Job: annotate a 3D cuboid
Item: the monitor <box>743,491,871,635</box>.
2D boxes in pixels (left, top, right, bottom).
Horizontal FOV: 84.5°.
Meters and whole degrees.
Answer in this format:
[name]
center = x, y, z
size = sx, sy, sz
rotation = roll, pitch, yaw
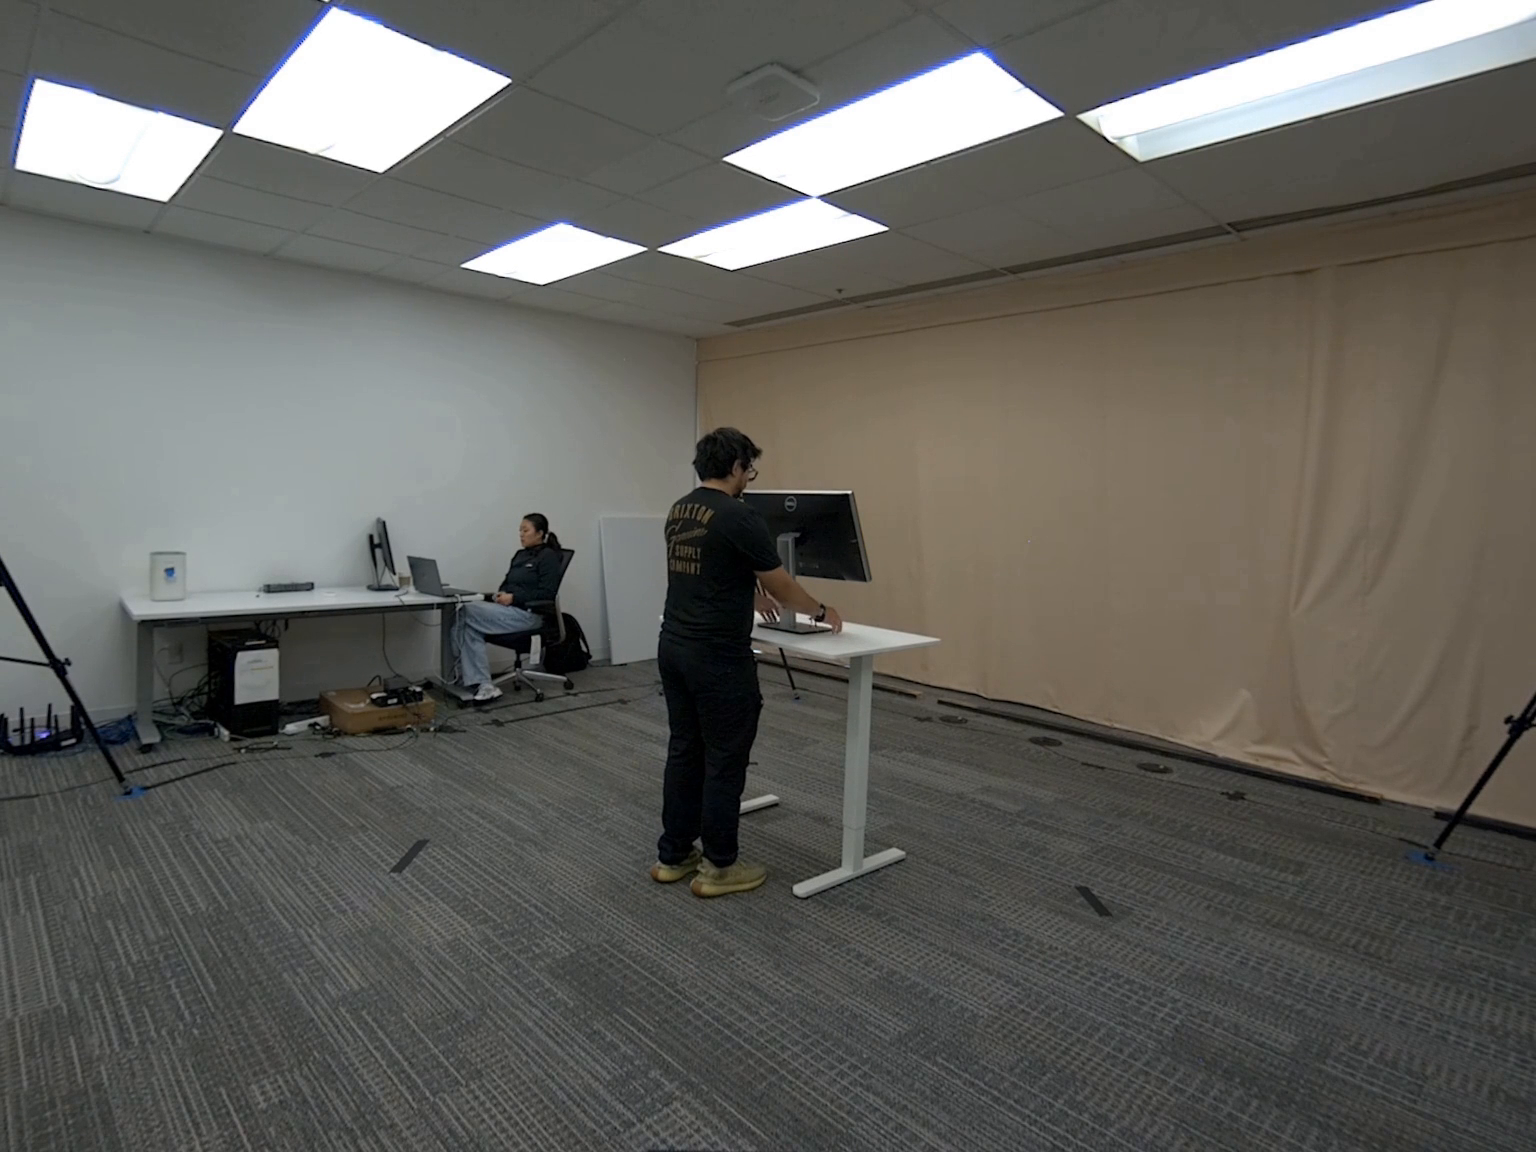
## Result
[monitor]
center = 0.092, -0.057, 3.284
size = 0.580, 0.548, 0.207
rotation = 6, 17, 44
